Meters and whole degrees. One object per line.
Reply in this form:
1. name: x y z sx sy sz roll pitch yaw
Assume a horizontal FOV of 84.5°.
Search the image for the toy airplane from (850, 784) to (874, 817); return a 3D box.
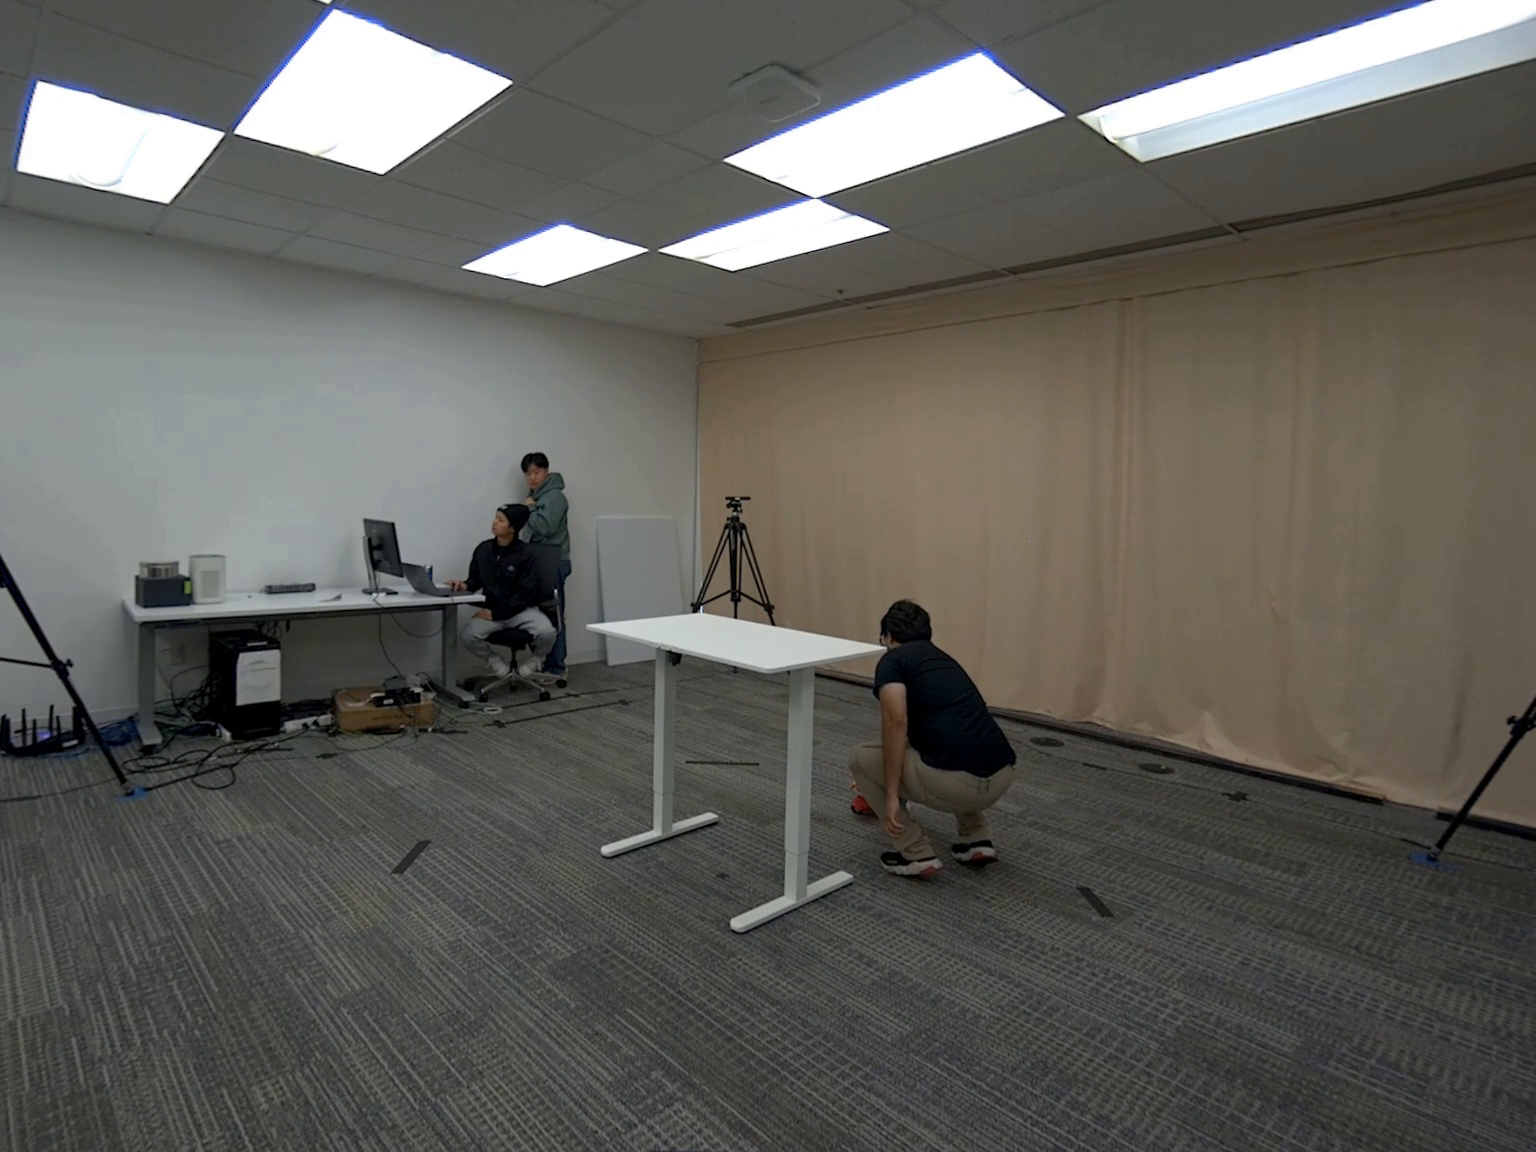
1. toy airplane: 0.501 0.993 3.769 0.261 0.156 0.250 1 3 7
